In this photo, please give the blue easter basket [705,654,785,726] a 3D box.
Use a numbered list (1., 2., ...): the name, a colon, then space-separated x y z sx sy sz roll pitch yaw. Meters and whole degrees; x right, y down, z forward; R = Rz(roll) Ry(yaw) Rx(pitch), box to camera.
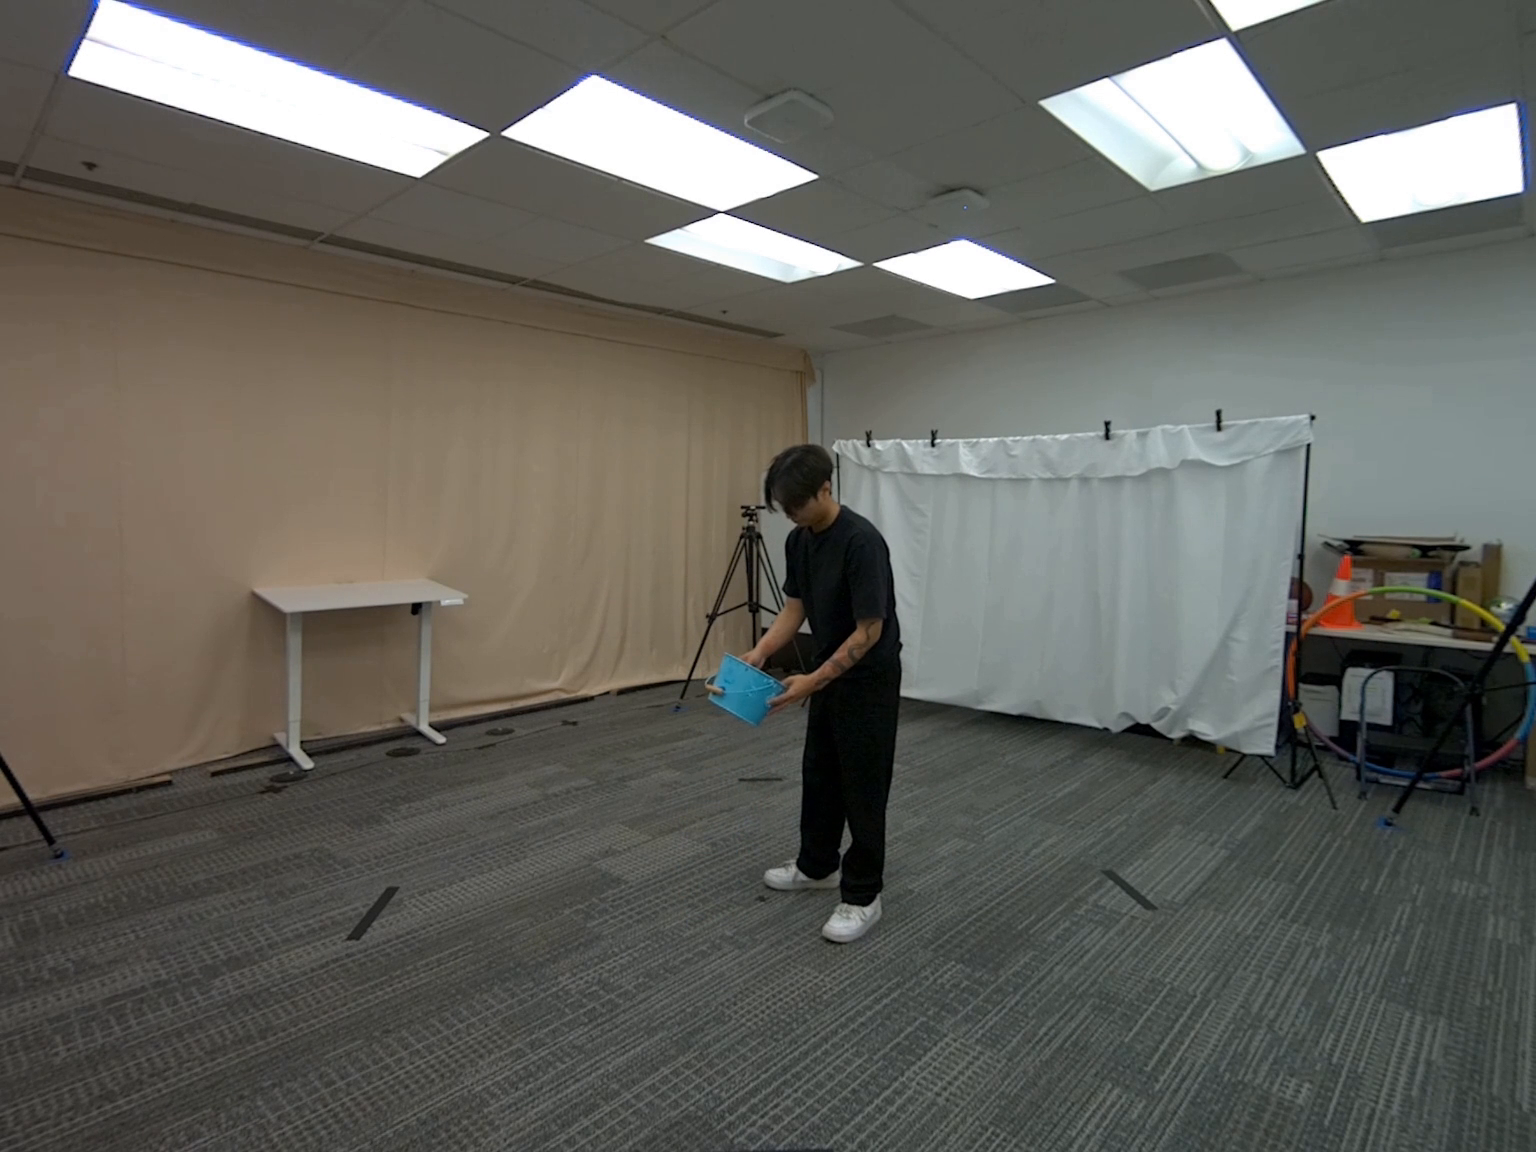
1. blue easter basket: -0.071 0.369 2.666 0.245 0.156 0.242 29 -8 2
